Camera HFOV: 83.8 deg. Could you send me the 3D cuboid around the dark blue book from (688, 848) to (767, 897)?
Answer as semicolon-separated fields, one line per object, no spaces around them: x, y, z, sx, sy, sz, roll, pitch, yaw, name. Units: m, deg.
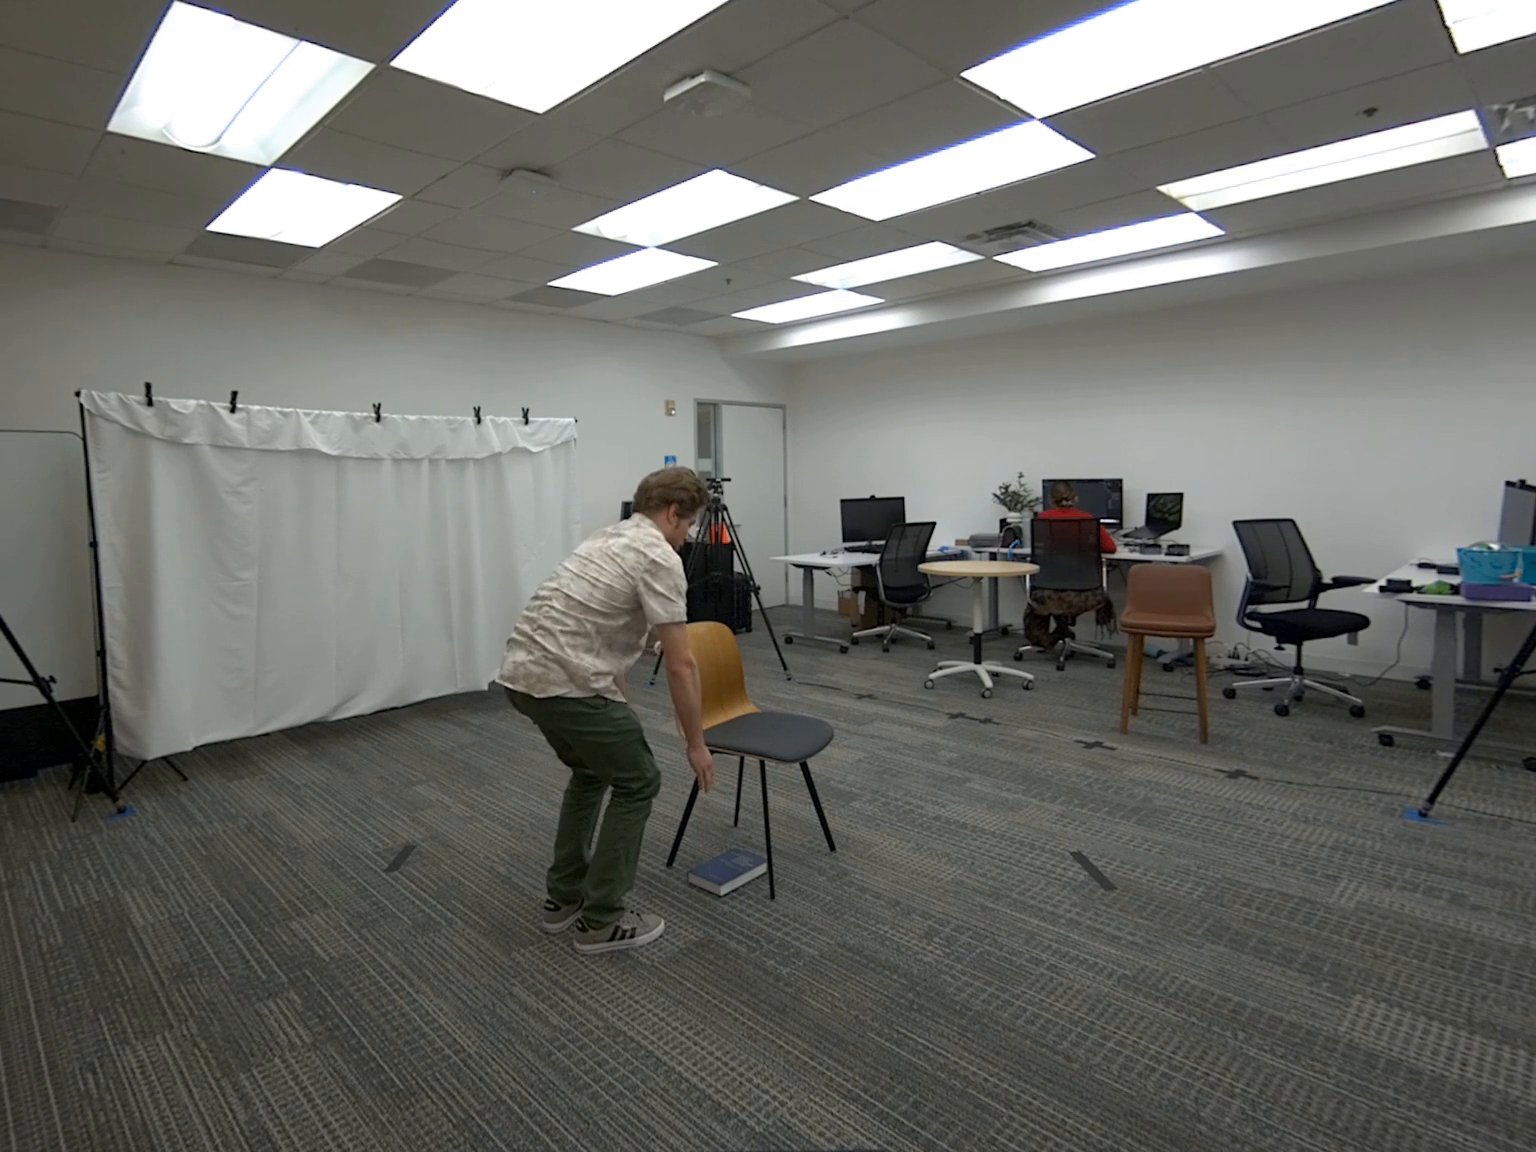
-0.139;1.032;2.991;0.168;0.045;0.239;6;10;41;dark blue book
